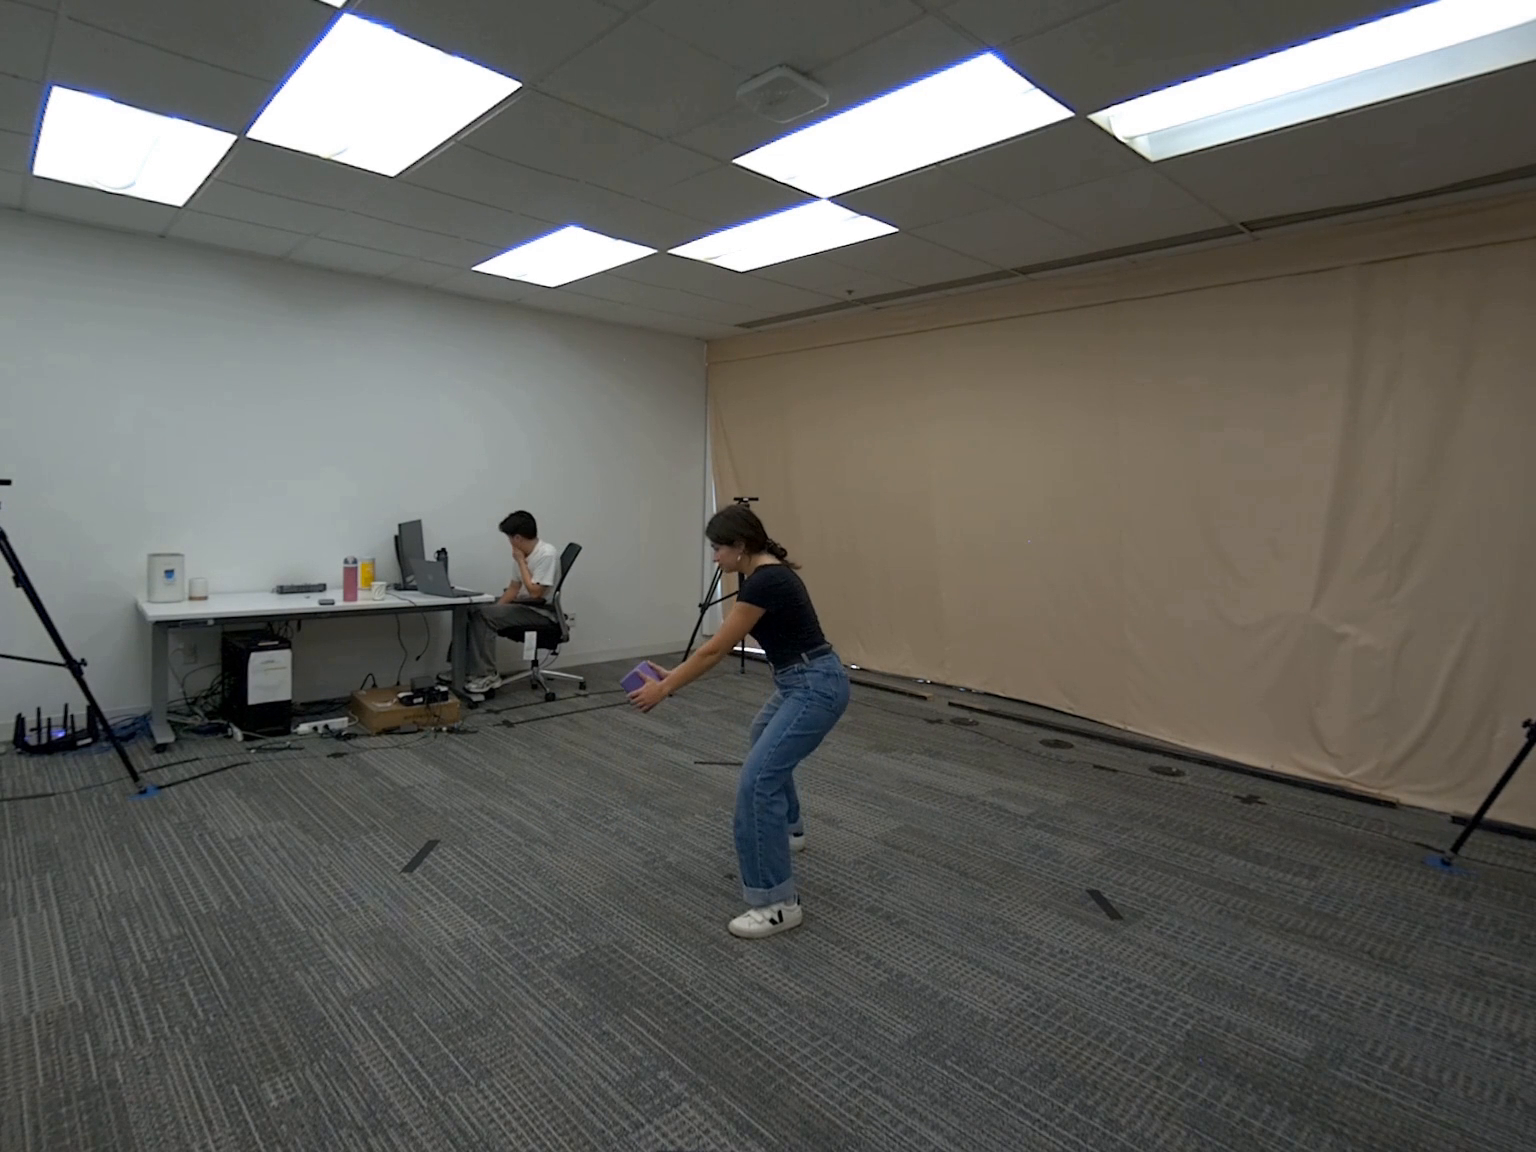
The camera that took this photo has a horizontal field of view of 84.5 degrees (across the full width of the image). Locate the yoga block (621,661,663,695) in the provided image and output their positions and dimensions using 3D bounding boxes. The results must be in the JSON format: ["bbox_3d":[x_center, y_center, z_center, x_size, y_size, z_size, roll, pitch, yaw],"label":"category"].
[{"bbox_3d":[-0.455,0.407,3.105,0.076,0.149,0.229,-39,1,3],"label":"yoga block"}]
